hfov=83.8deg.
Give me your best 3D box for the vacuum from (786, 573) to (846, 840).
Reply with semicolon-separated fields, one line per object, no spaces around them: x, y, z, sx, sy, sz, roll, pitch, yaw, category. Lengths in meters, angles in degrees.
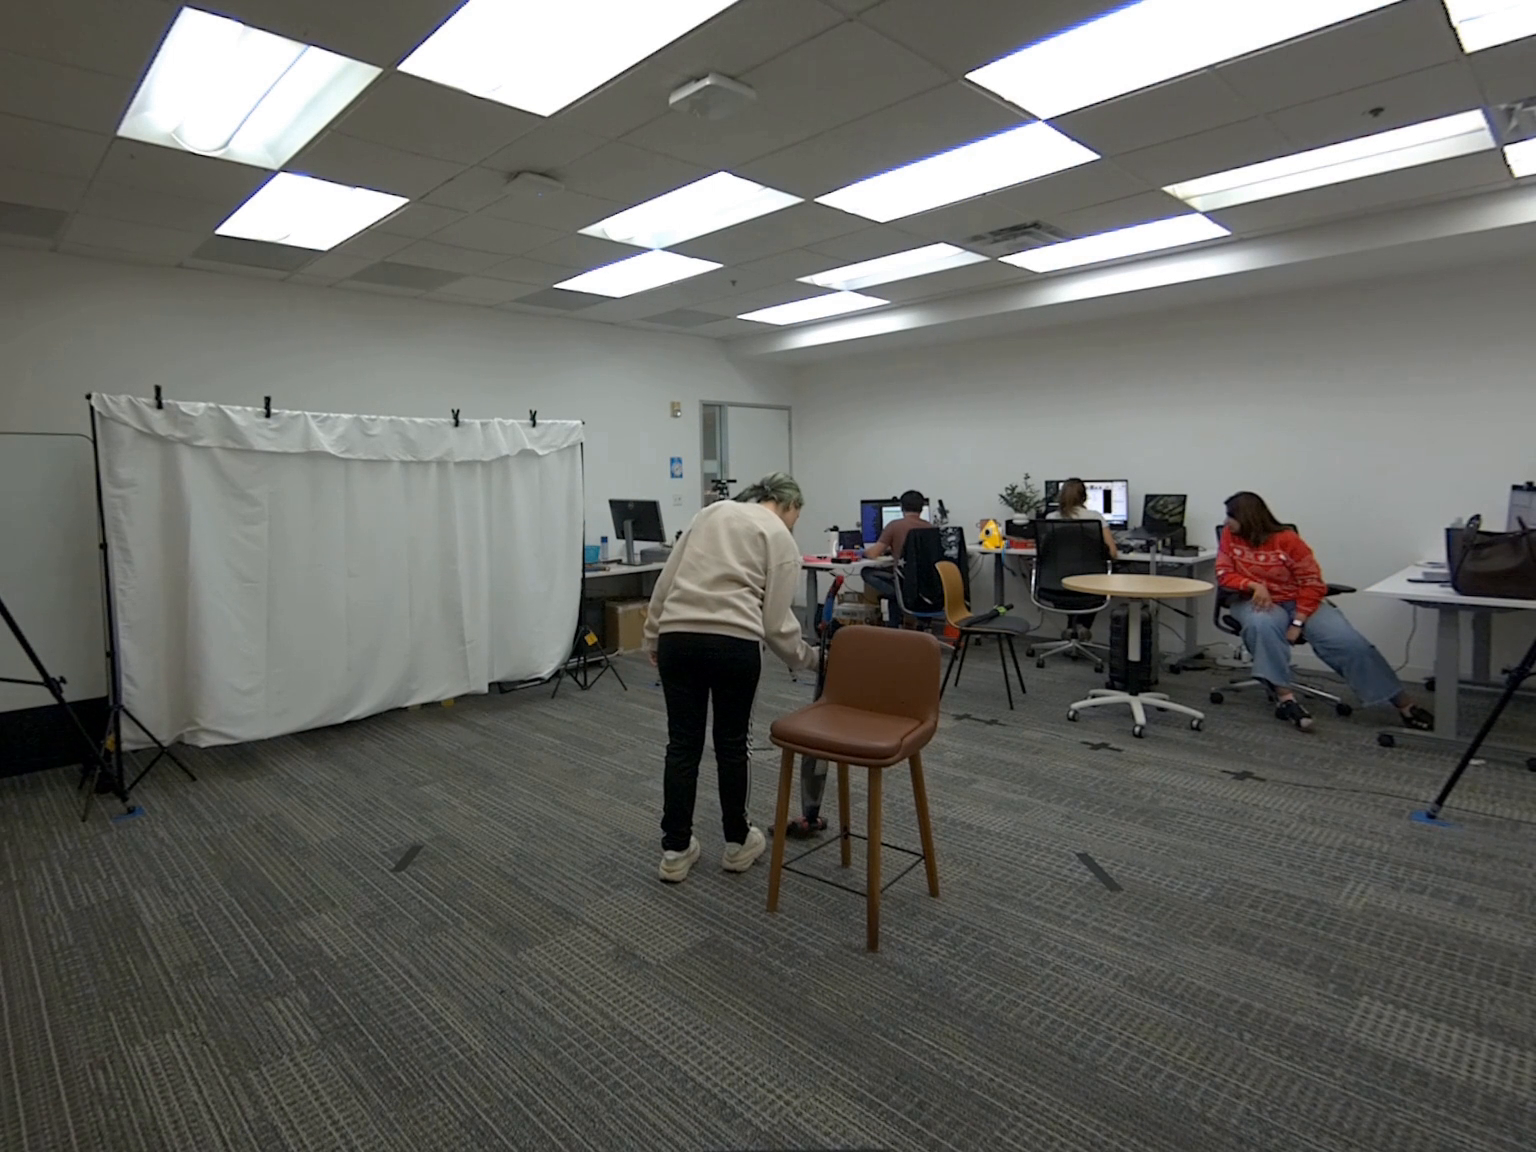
0.209;0.502;3.230;0.247;1.038;0.149;1;16;-27;vacuum
